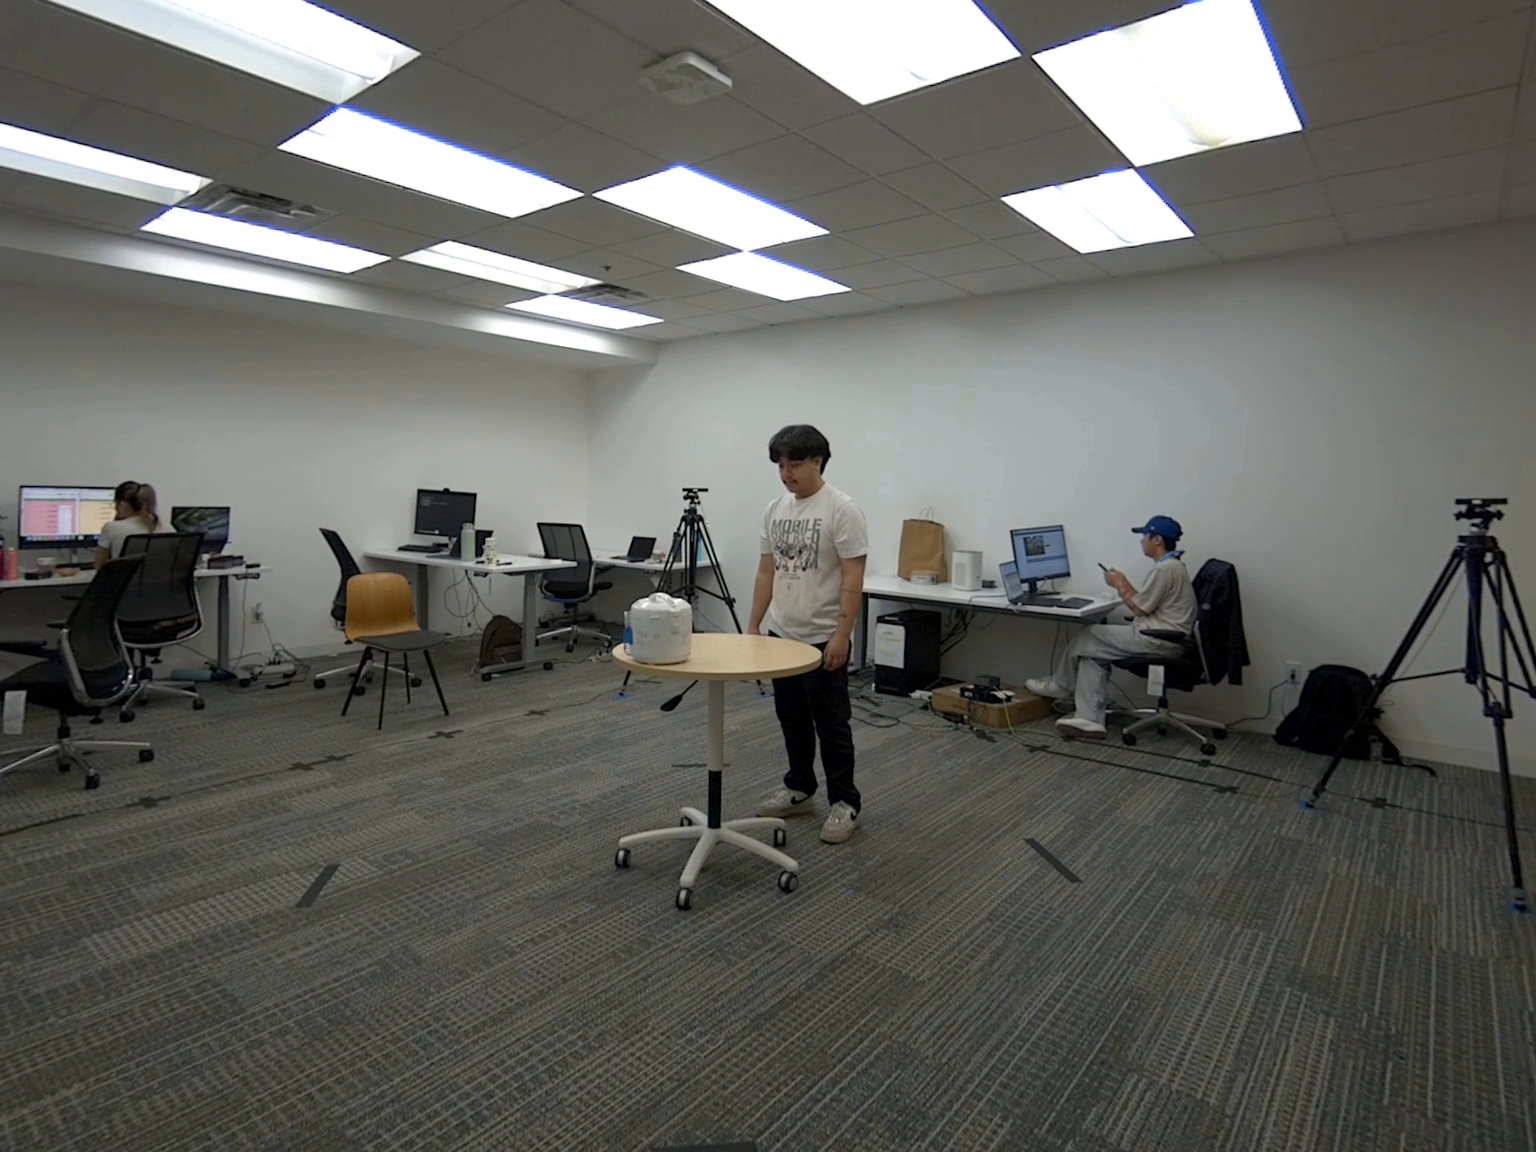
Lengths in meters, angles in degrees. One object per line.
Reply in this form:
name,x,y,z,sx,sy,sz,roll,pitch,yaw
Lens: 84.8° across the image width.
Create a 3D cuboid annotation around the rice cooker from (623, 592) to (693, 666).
rice cooker,-0.377,0.173,2.930,0.212,0.232,0.227,-4,6,-32
